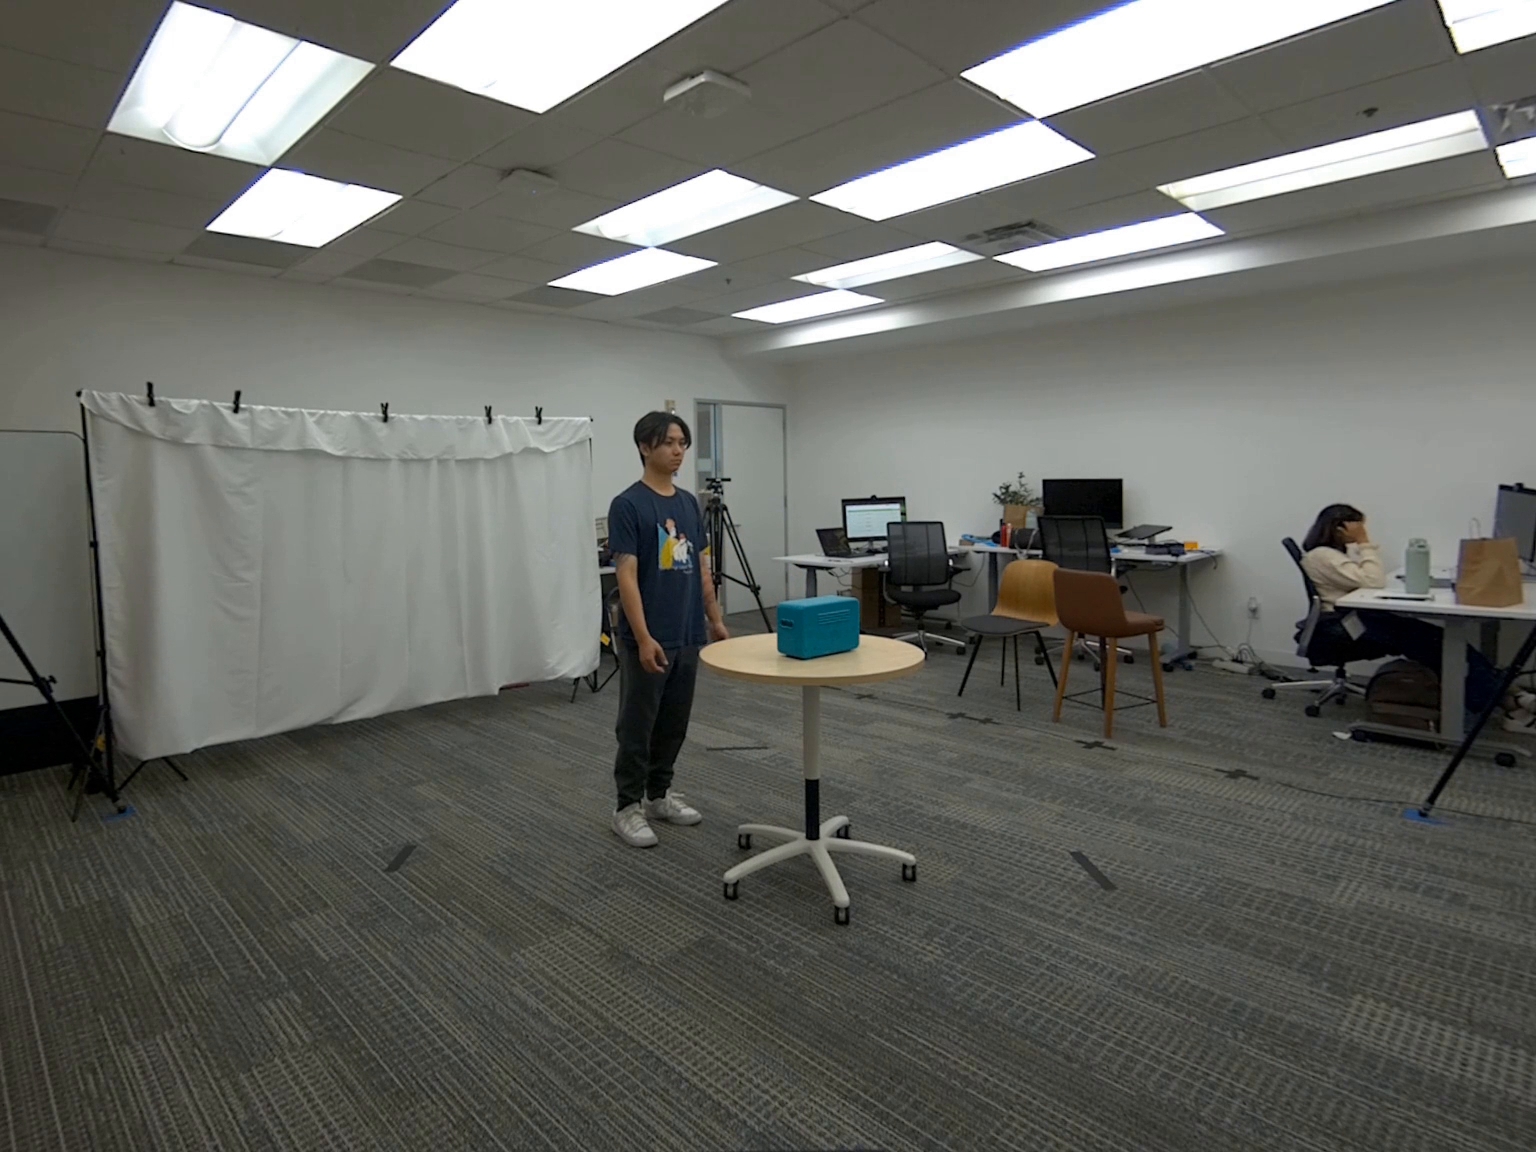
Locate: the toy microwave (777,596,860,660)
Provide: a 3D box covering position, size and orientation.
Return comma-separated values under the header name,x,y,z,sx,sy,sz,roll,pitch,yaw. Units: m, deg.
name,x,y,z,sx,sy,sz,roll,pitch,yaw
toy microwave,0.168,0.169,2.920,0.279,0.183,0.157,-6,6,-39
